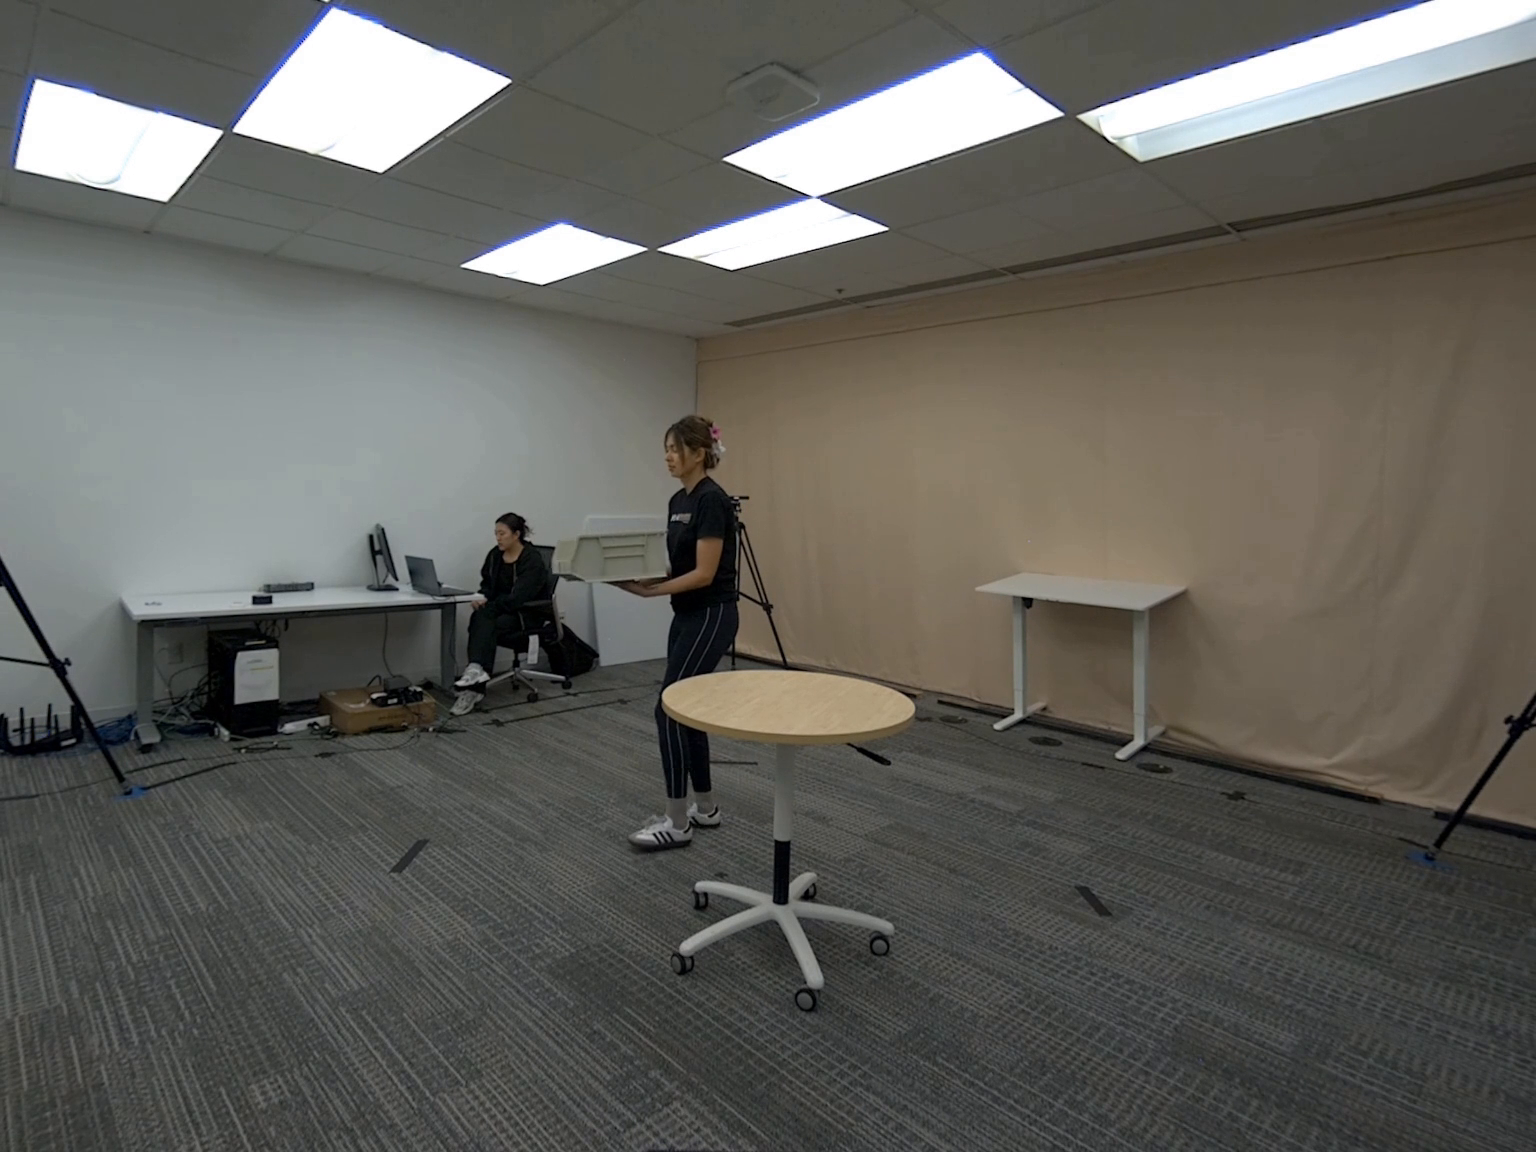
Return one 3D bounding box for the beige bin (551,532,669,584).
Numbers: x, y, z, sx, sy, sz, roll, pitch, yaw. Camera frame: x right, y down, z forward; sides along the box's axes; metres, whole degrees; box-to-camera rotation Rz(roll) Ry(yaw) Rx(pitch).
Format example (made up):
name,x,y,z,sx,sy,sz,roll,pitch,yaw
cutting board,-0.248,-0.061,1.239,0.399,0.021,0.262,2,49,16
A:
name,x,y,z,sx,sy,sz,roll,pitch,yaw
beige bin,-0.636,-0.069,3.304,0.371,0.189,0.429,-3,1,-23
